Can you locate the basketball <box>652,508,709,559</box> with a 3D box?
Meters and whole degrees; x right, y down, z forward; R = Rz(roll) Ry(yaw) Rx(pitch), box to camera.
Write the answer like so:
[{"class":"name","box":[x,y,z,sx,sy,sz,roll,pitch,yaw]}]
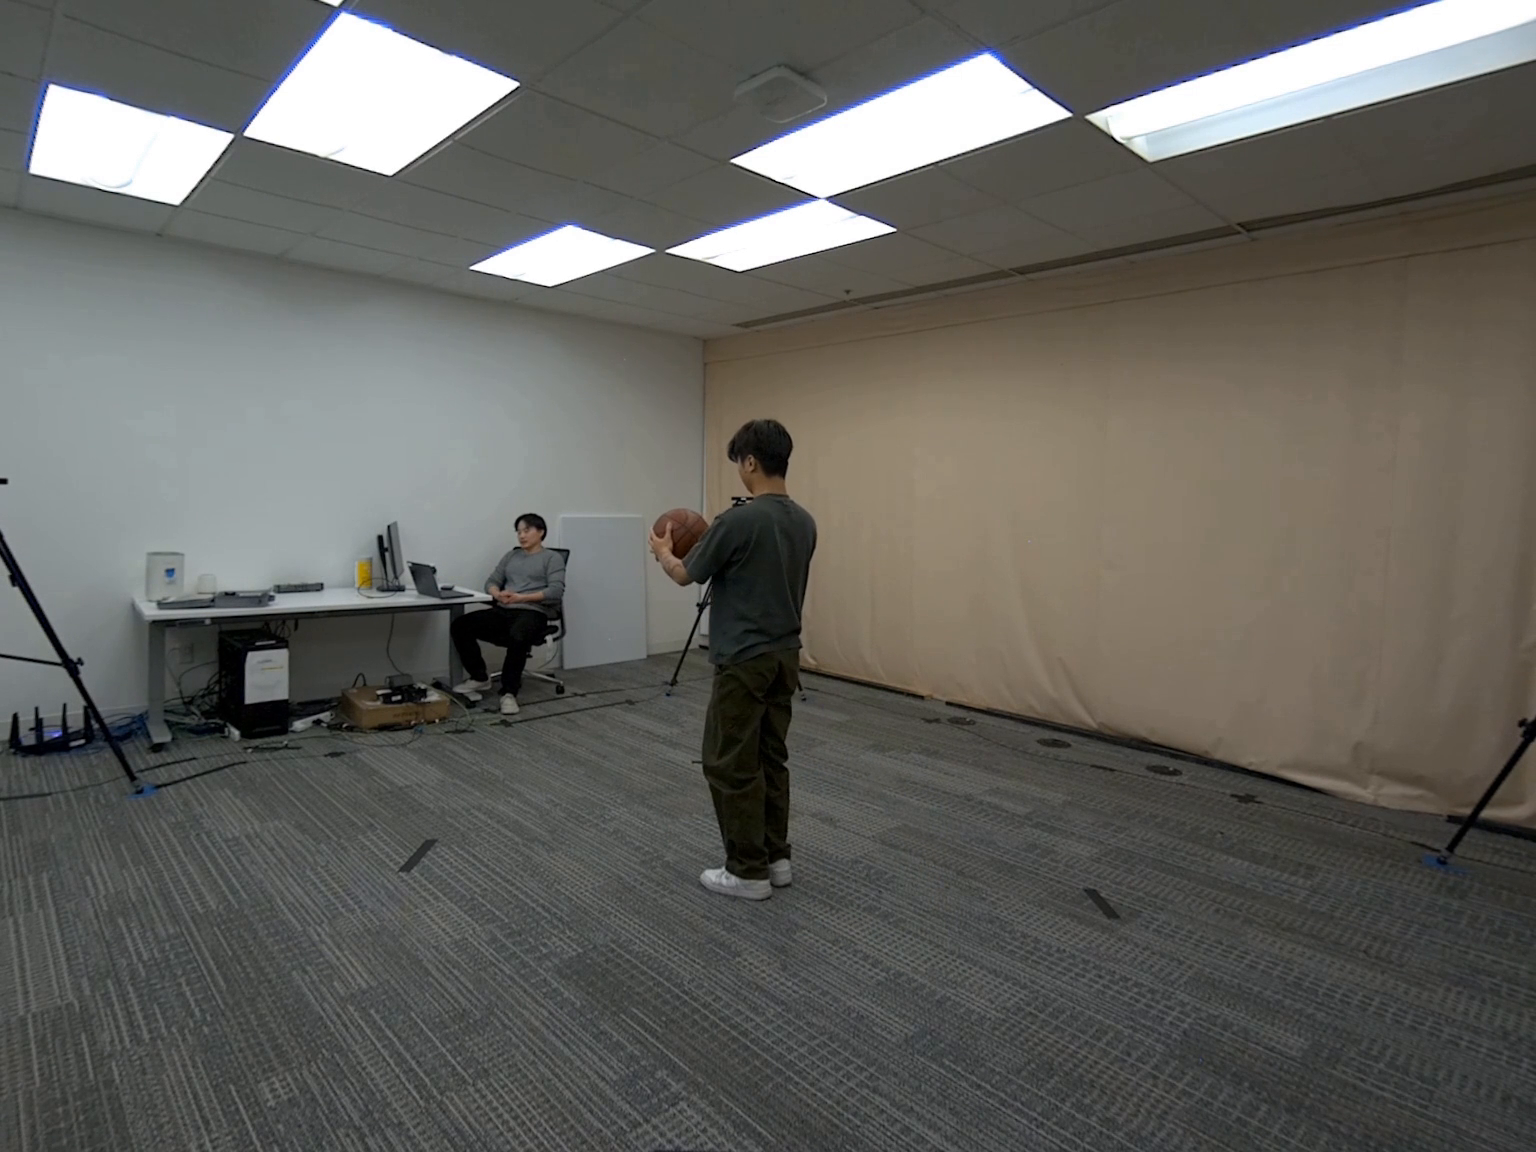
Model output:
[{"class":"basketball","box":[-0.341,-0.142,3.304,0.236,0.235,0.237,1,4,-1]}]
